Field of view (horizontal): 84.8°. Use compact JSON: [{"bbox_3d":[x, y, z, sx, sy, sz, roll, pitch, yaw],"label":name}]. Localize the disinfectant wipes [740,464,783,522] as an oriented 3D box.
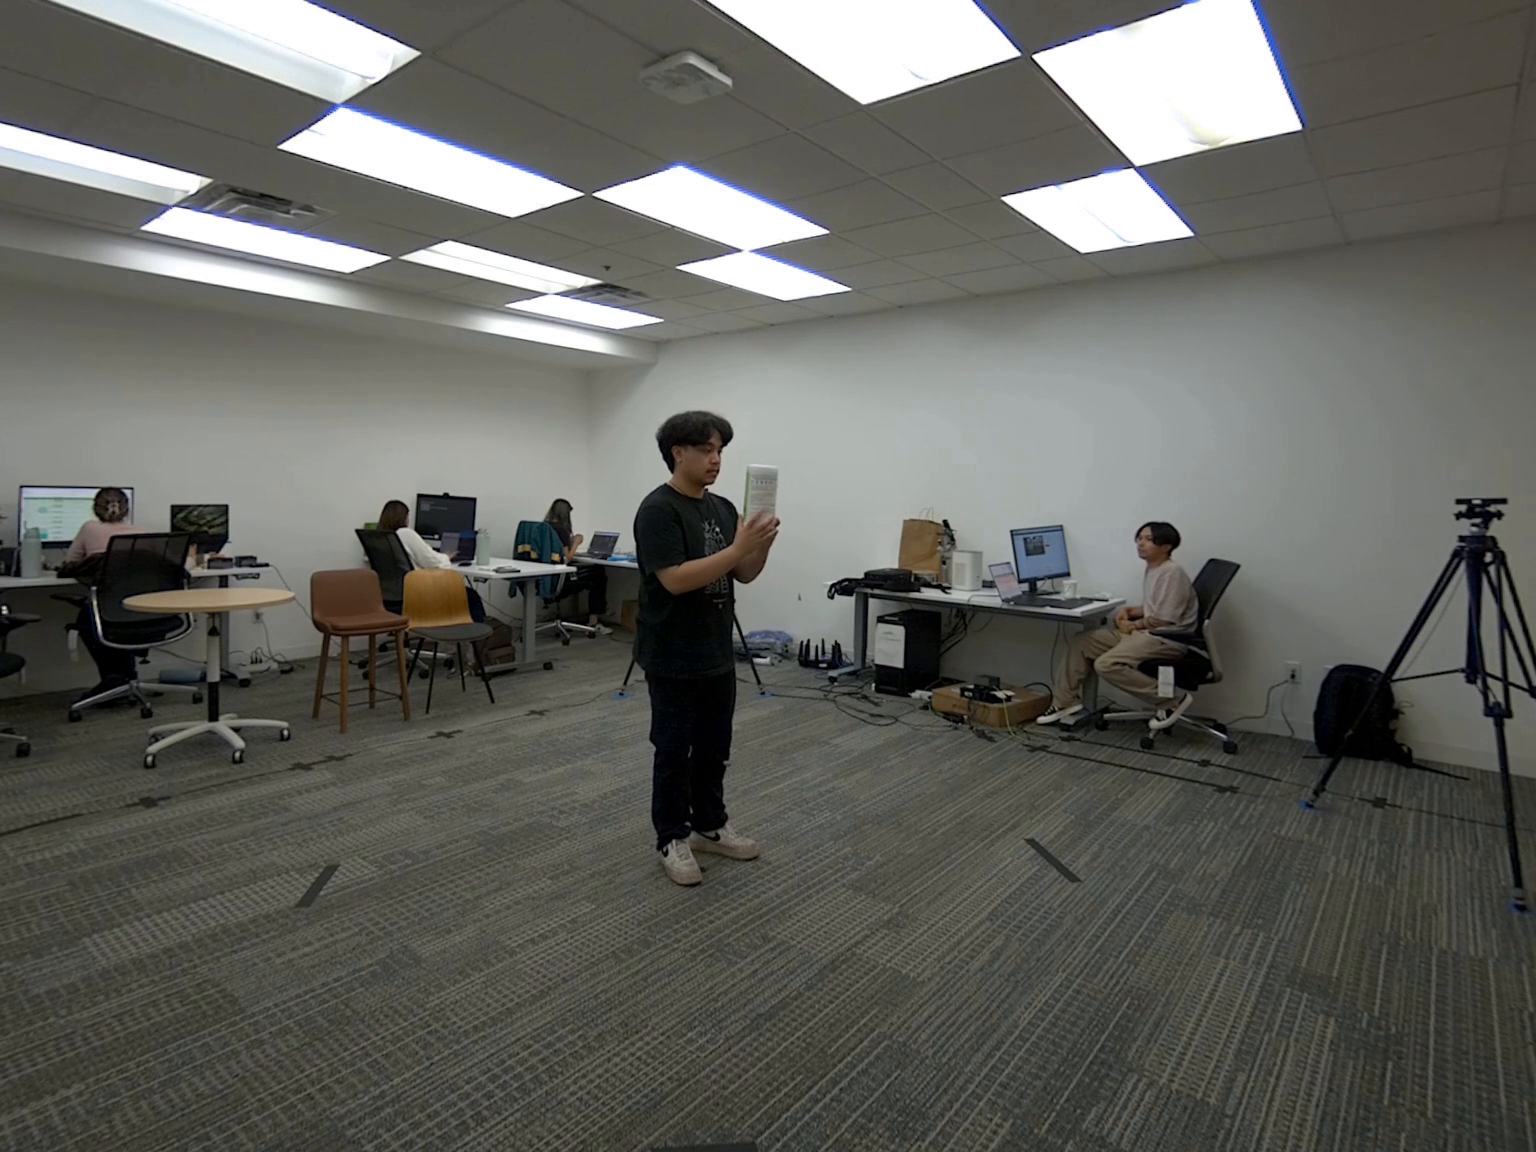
[{"bbox_3d":[-0.027,-0.265,2.875,0.117,0.217,0.118,6,2,-2],"label":"disinfectant wipes"}]
